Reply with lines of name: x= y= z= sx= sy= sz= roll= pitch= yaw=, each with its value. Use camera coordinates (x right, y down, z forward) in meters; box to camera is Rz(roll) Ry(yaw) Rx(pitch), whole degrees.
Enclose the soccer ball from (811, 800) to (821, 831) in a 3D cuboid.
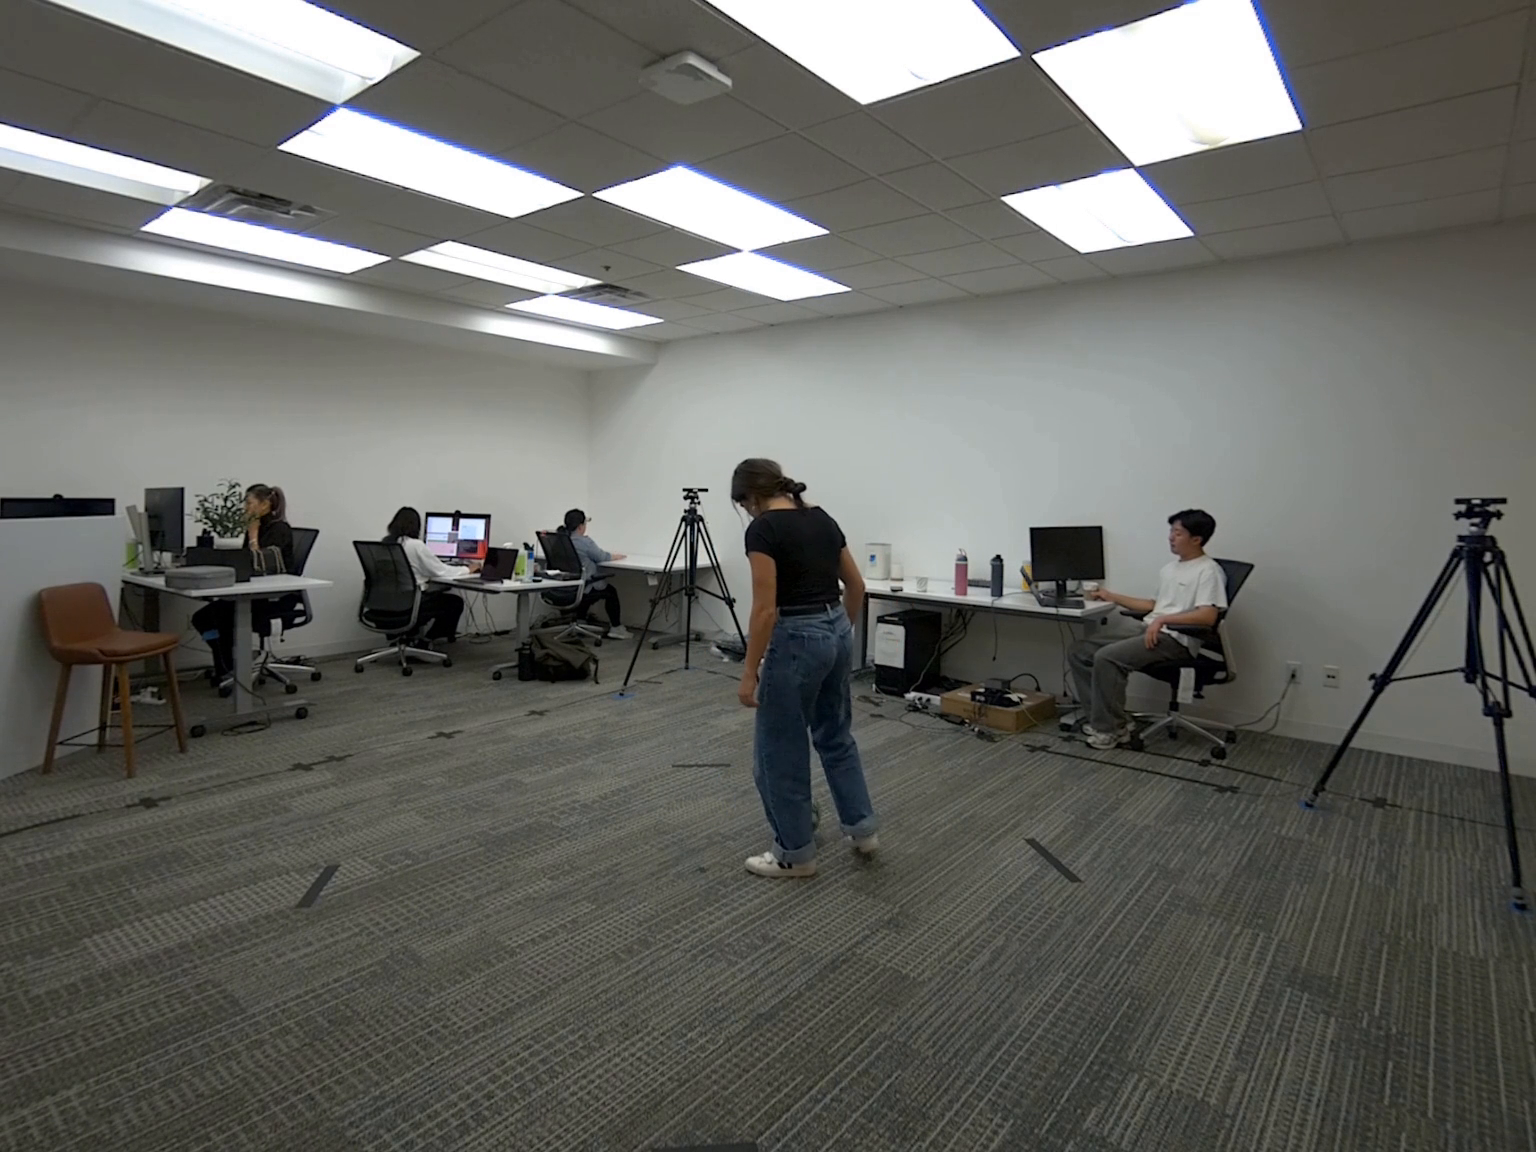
soccer ball: x=0.125 y=0.938 z=3.412 sx=0.187 sy=0.187 sz=0.188 roll=1 pitch=4 yaw=-2
